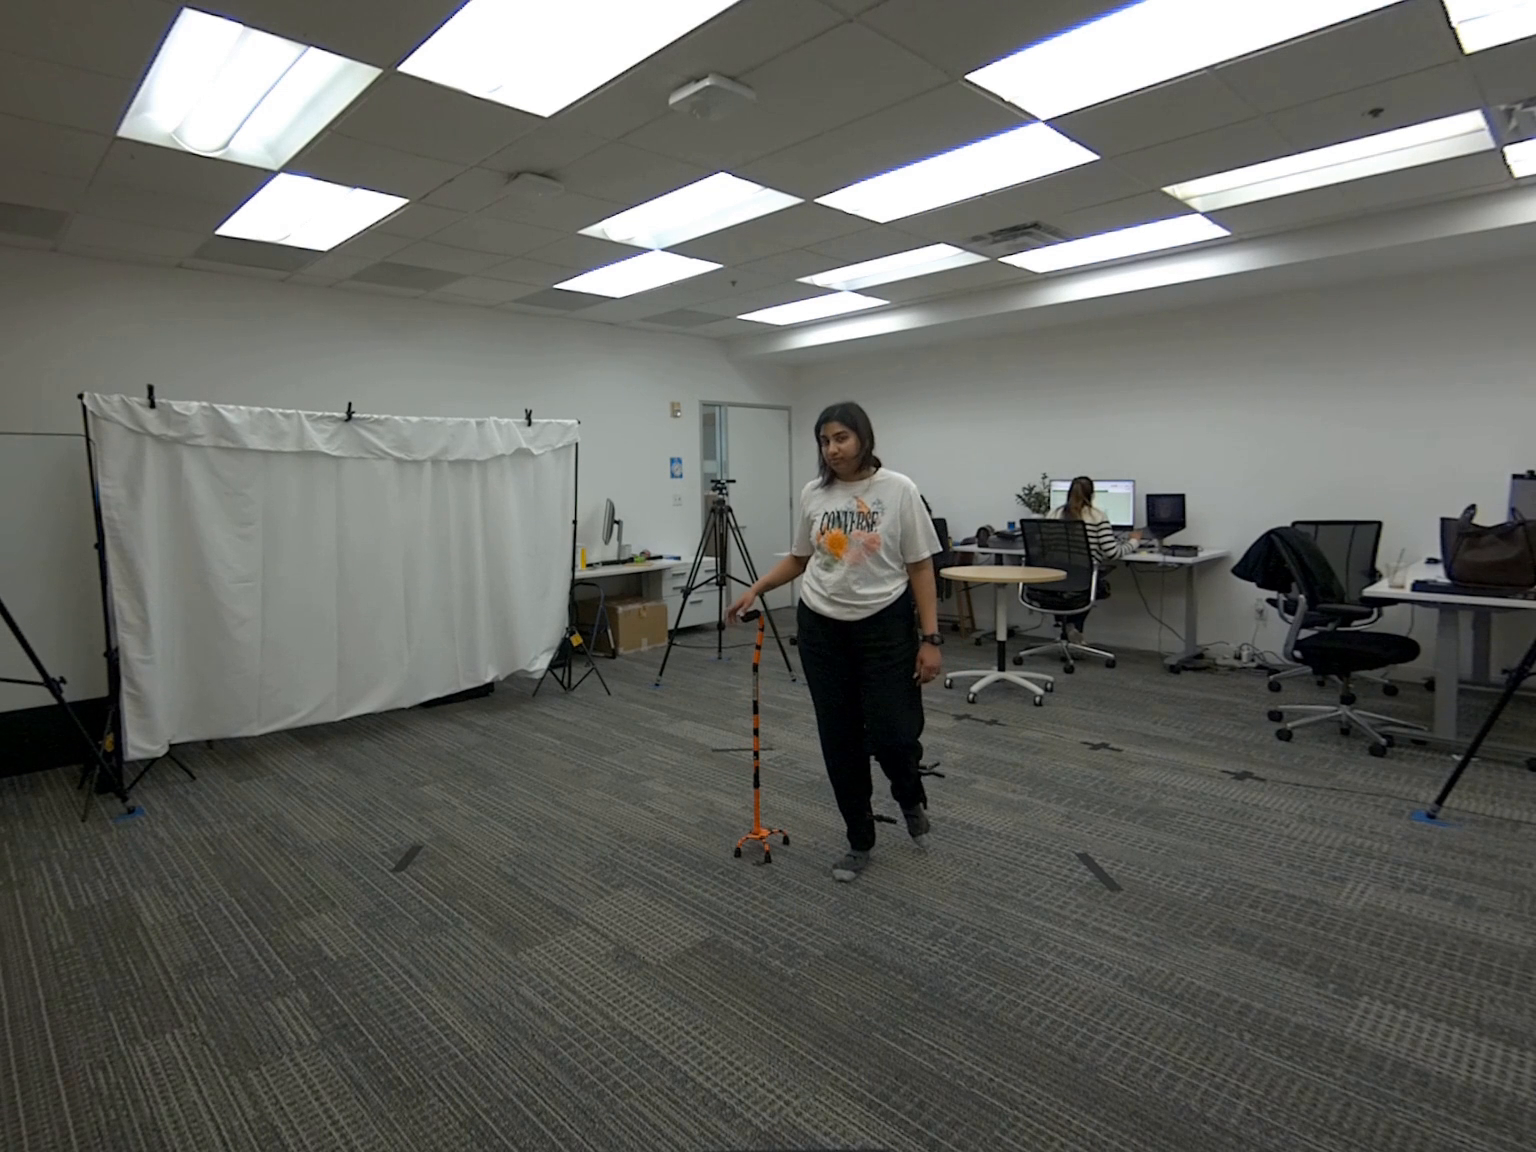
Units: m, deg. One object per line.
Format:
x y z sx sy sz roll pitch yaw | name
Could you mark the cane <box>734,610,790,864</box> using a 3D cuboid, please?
-0.027 0.582 3.199 0.155 0.905 0.203 1 4 23 | cane
